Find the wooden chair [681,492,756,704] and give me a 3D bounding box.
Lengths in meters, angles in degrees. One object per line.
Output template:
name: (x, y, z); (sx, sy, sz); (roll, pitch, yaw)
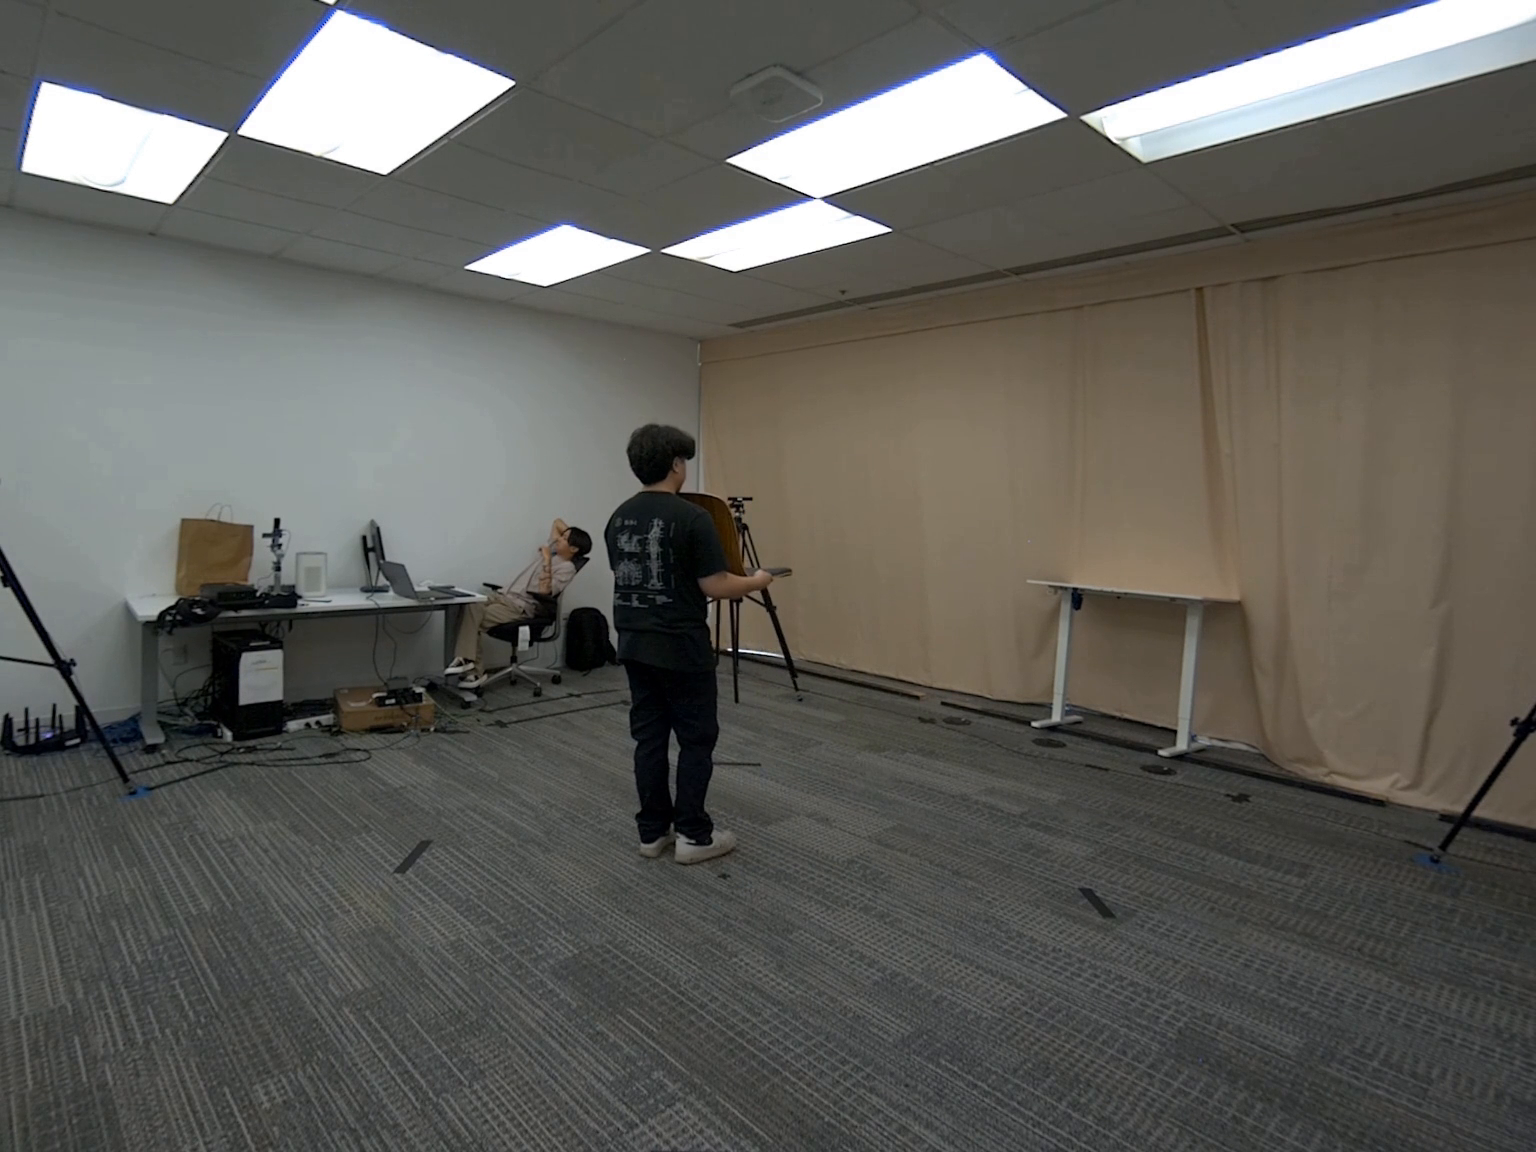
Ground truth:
wooden chair: (-0.188, 0.046, 3.605); (0.489, 0.870, 0.515); (3, 12, 35)
